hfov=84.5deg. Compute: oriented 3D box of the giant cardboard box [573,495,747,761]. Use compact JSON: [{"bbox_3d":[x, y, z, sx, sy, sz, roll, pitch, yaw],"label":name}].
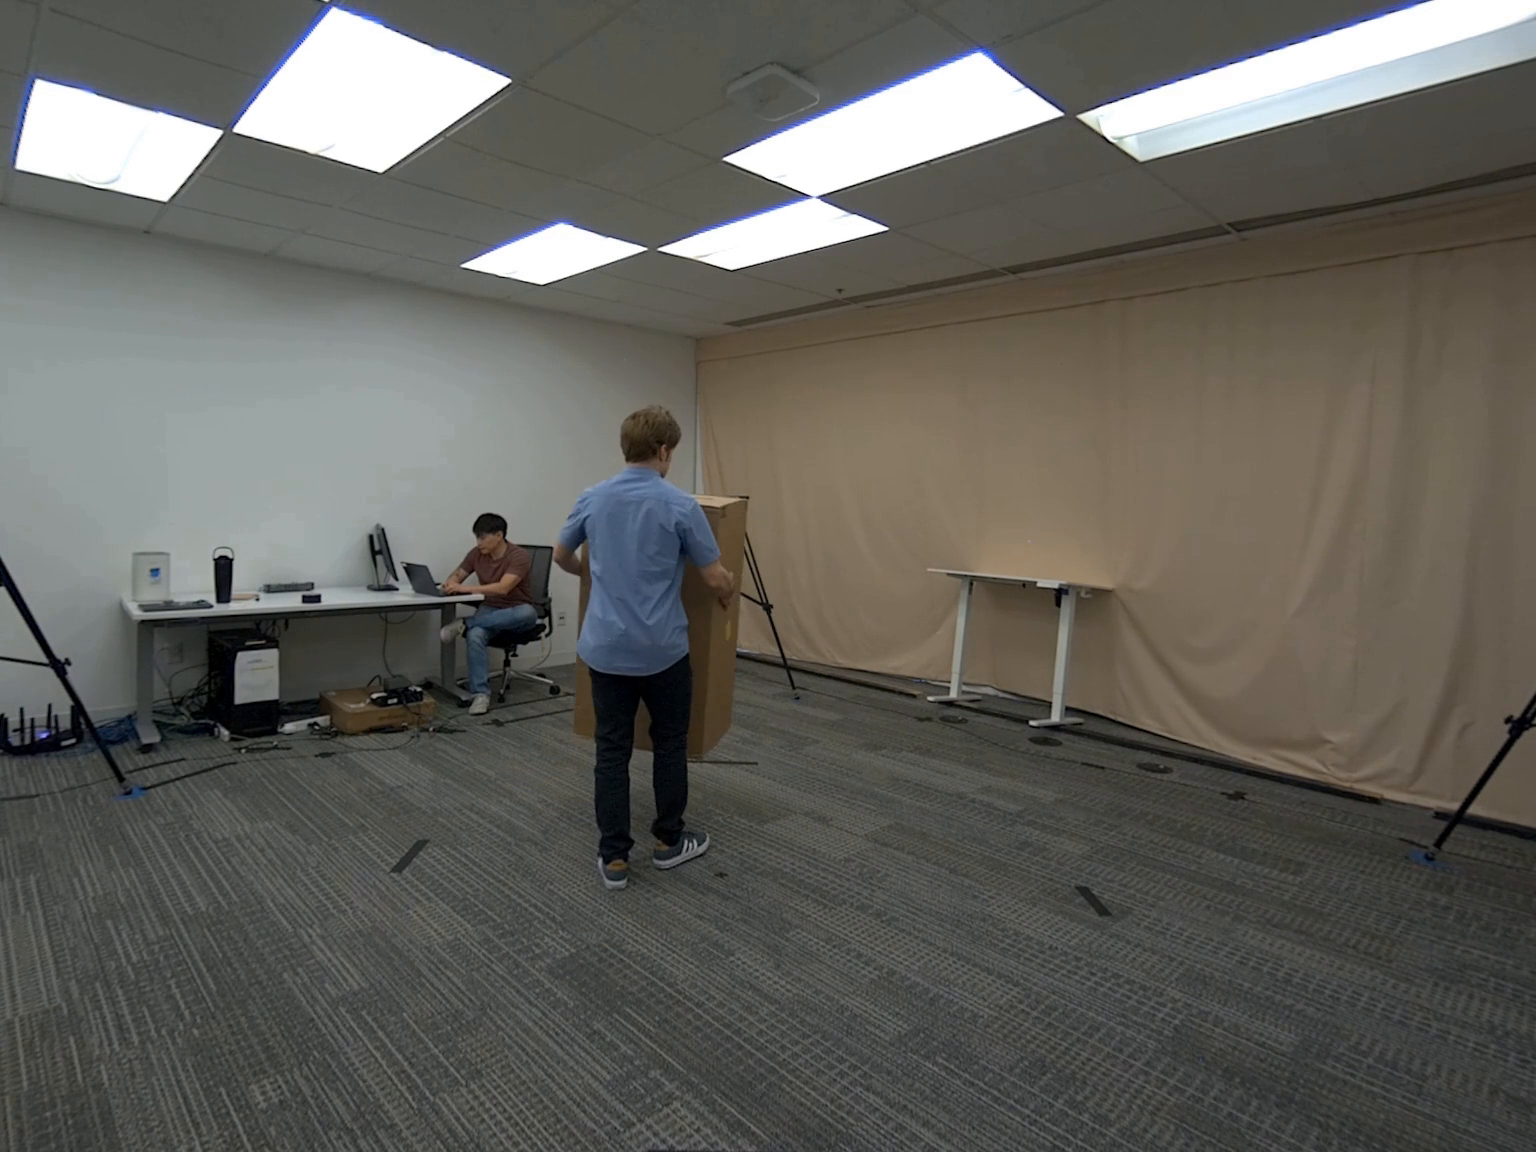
[{"bbox_3d":[-0.448,0.171,3.541,0.585,1.020,0.423,7,9,15],"label":"giant cardboard box"}]
